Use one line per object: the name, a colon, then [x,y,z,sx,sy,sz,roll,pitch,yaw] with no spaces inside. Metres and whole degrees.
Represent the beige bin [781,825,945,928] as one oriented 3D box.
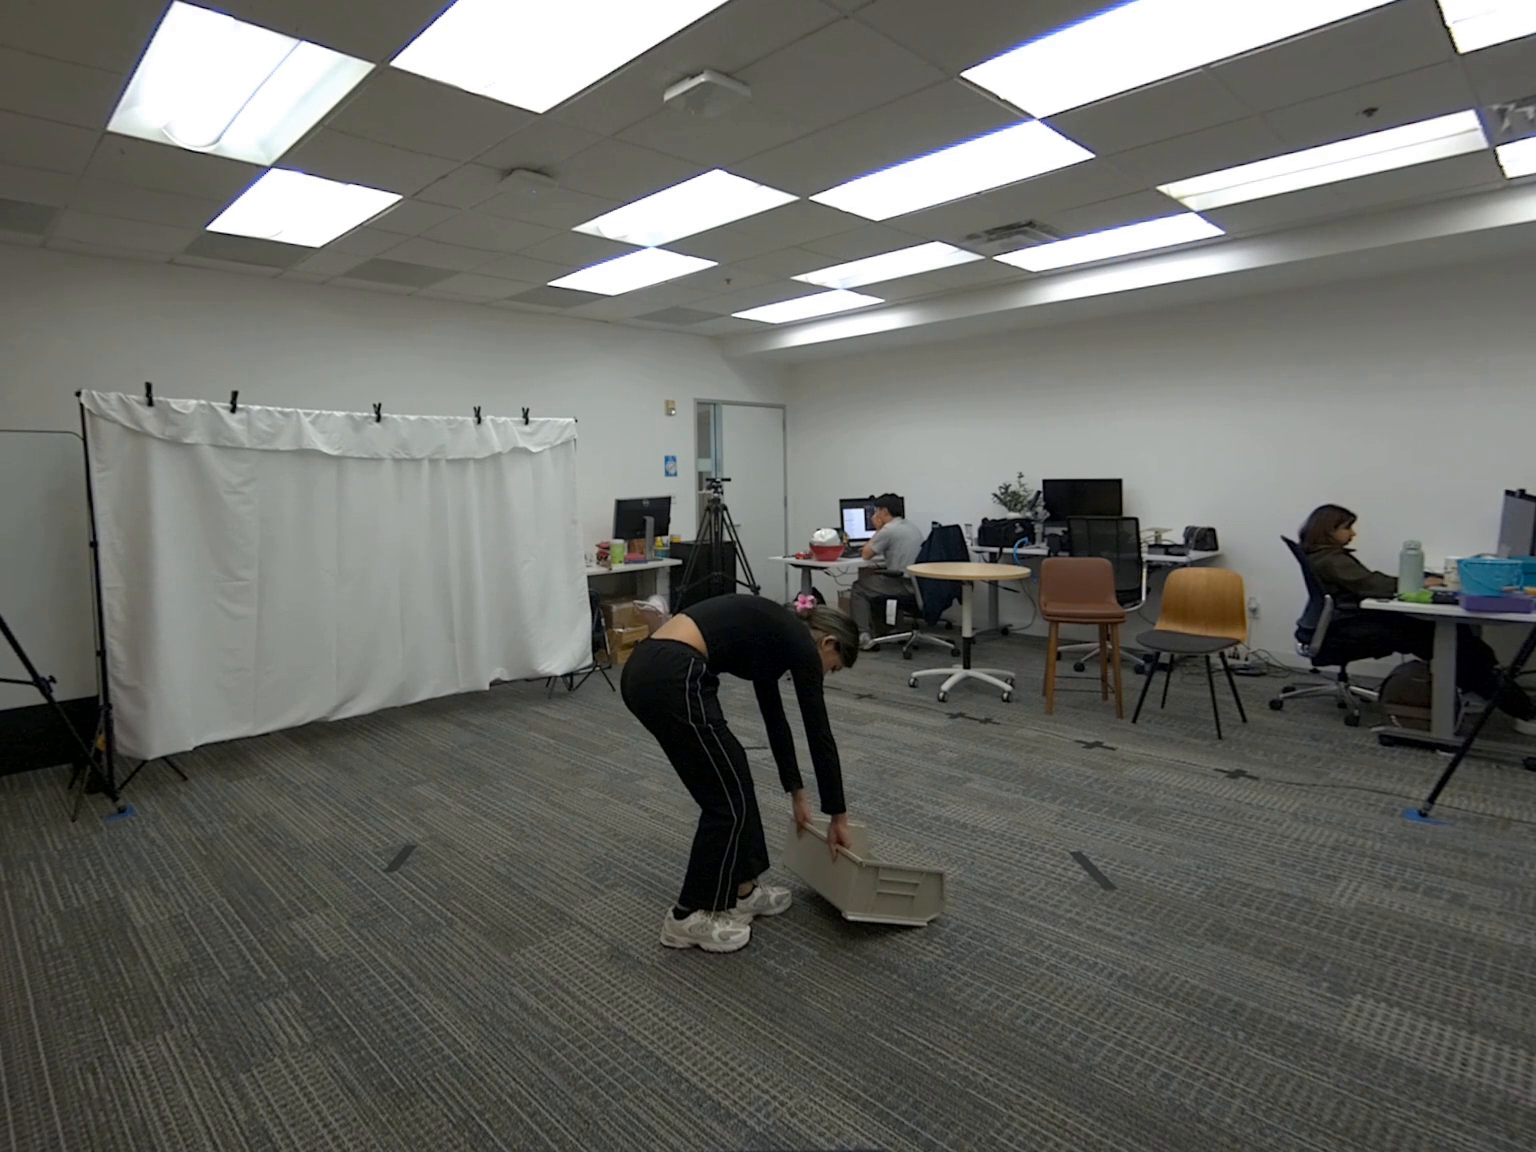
beige bin: [0.304,0.945,2.779,0.366,0.189,0.434,15,-2,-29]
